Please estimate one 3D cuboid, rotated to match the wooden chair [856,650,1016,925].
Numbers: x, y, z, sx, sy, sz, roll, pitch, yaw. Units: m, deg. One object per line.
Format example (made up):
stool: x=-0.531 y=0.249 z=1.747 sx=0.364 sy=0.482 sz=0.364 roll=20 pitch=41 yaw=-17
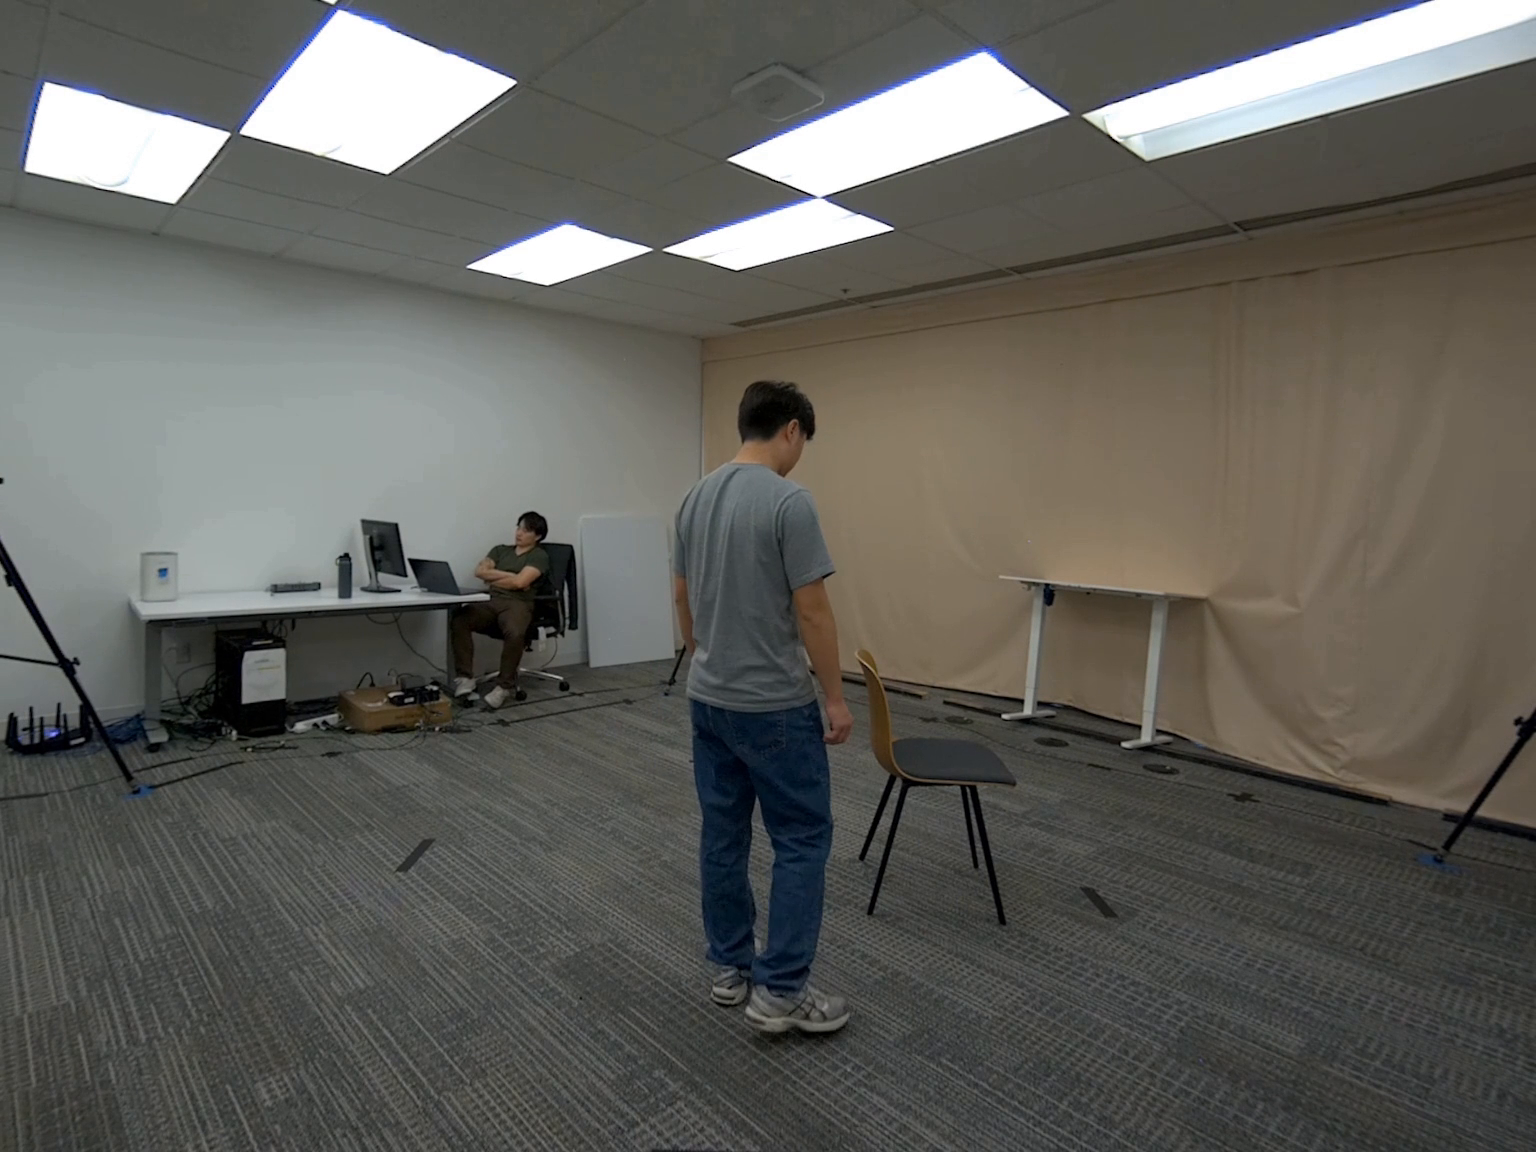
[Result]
wooden chair: x=0.586 y=0.707 z=3.006 sx=0.525 sy=0.875 sz=0.478 roll=-1 pitch=3 yaw=3
